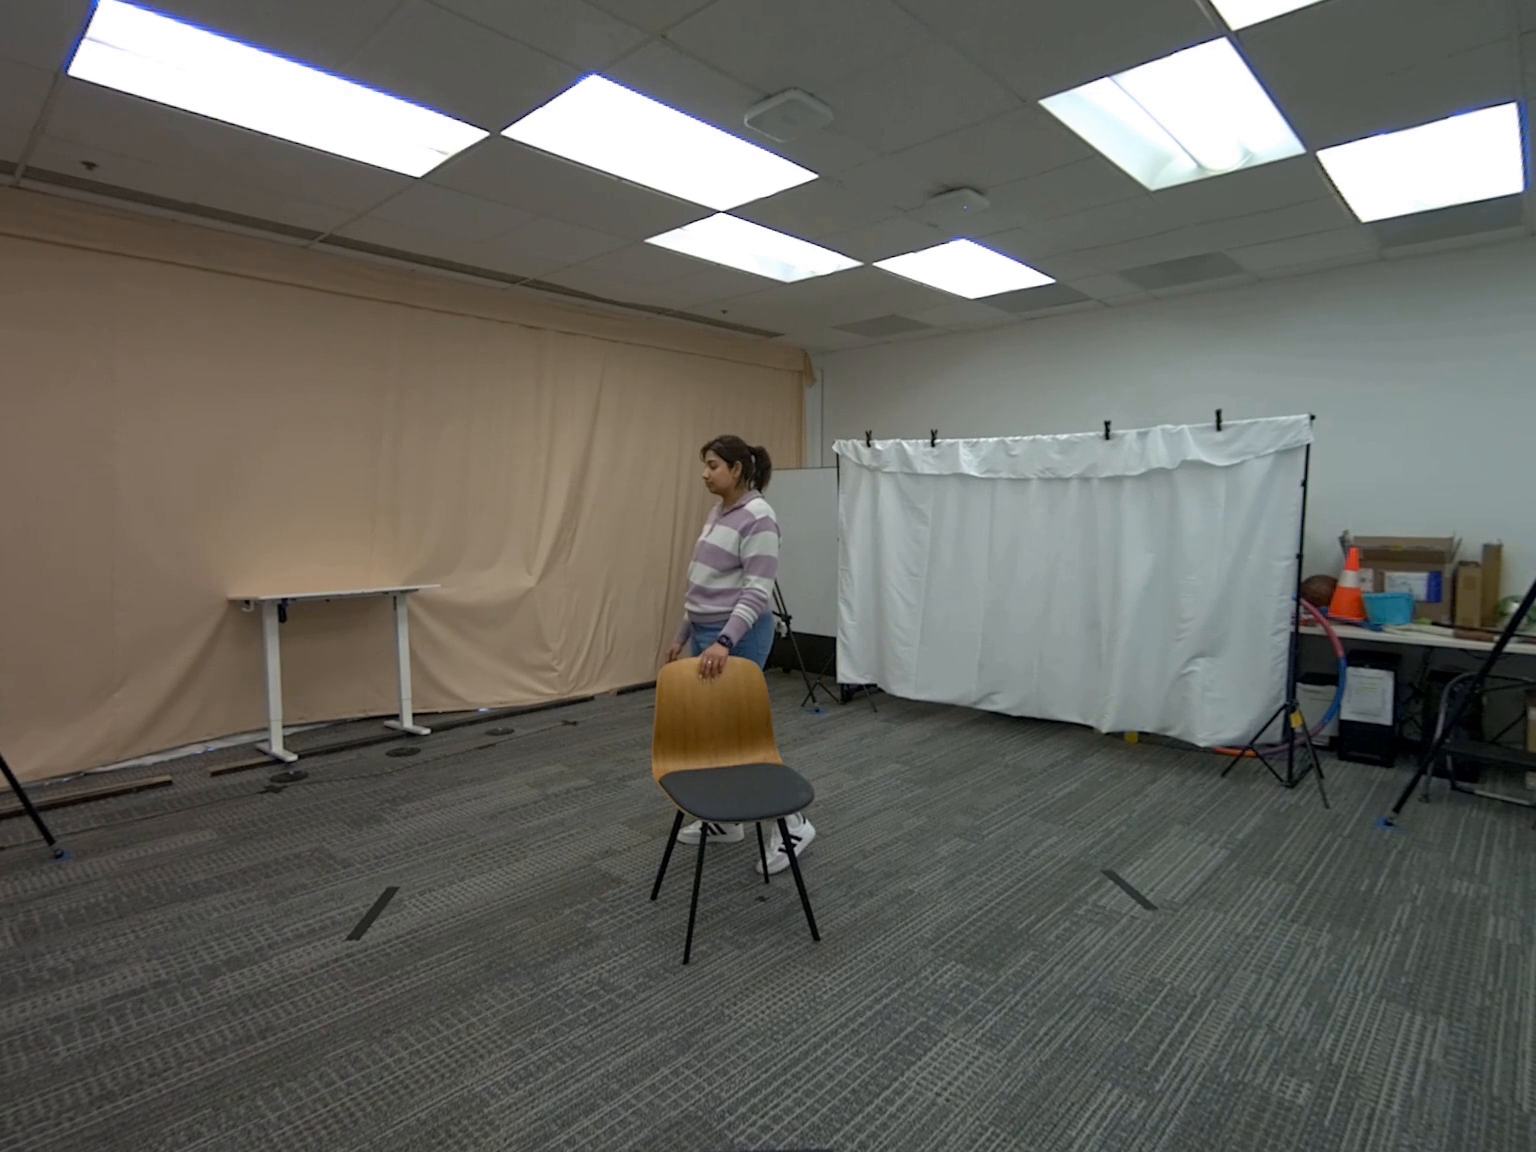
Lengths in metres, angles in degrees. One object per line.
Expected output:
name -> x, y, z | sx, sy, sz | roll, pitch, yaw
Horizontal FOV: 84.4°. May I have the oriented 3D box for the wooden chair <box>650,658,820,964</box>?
wooden chair -> -0.119, 0.728, 2.797 | 0.469, 0.878, 0.533 | -1, -1, -20
